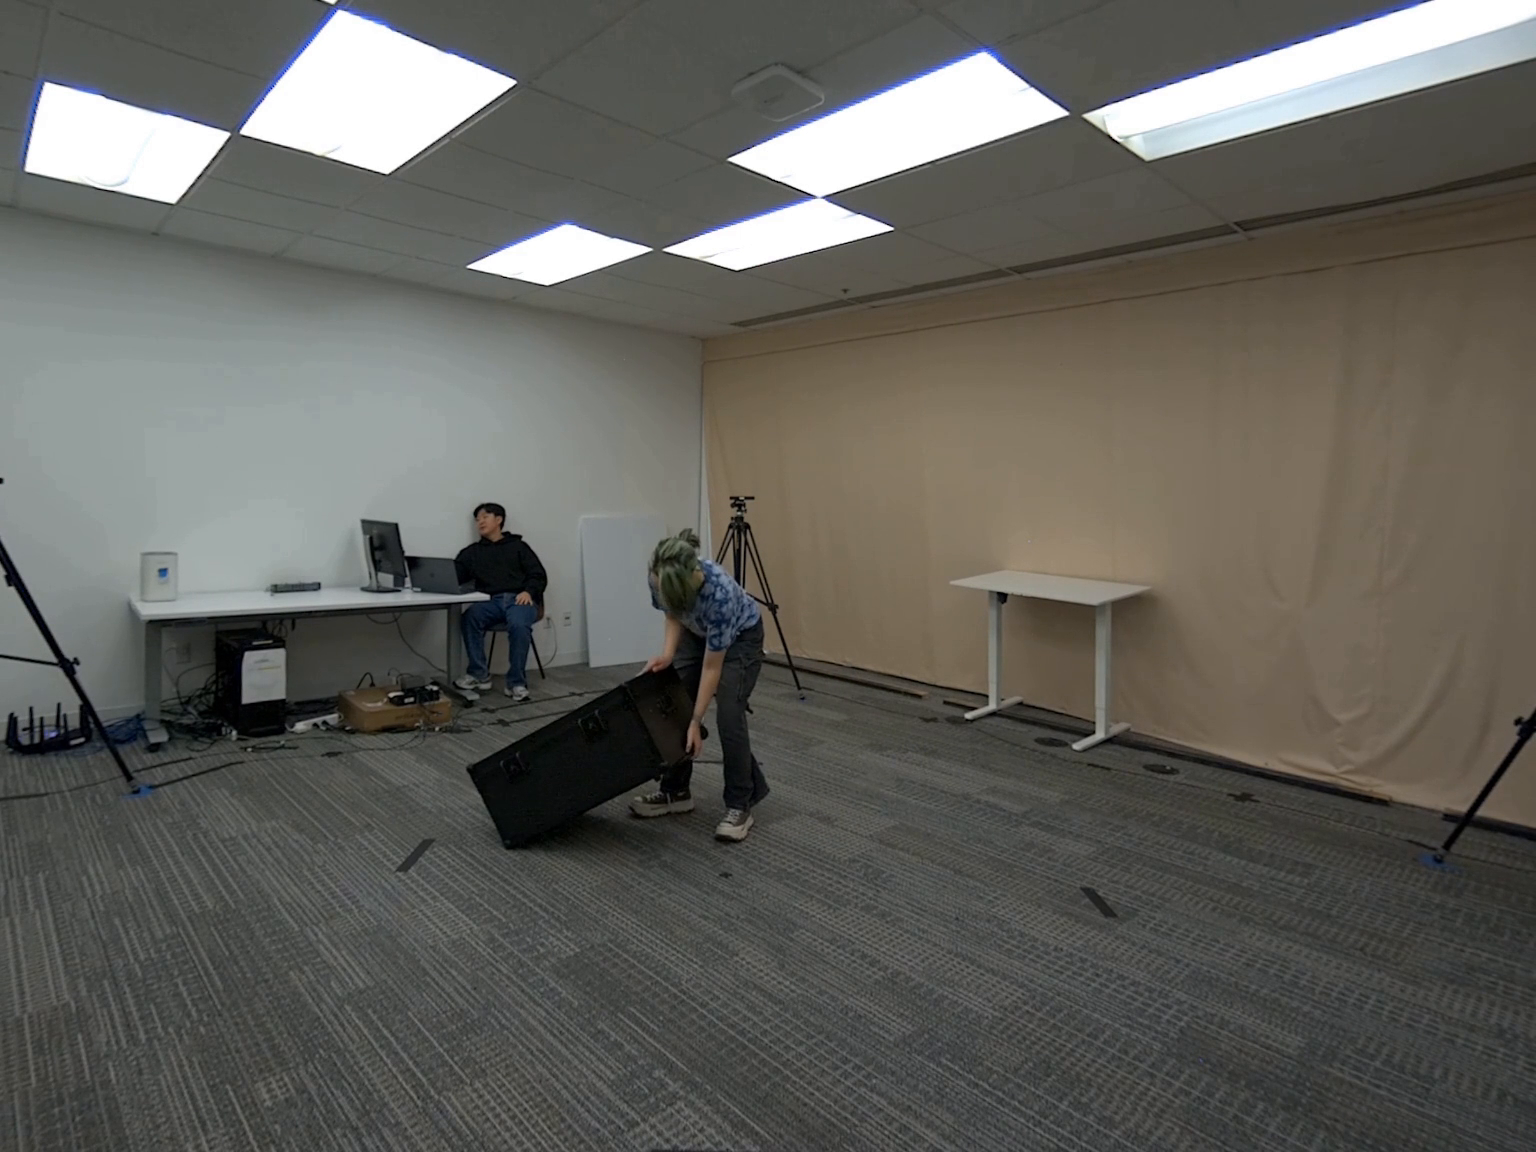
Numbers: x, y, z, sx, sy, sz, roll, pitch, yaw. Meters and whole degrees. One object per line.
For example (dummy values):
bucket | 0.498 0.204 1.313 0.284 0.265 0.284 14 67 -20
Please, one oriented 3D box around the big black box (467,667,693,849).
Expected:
big black box | -0.742 0.738 3.424 0.866 0.398 0.516 -28 -4 17
